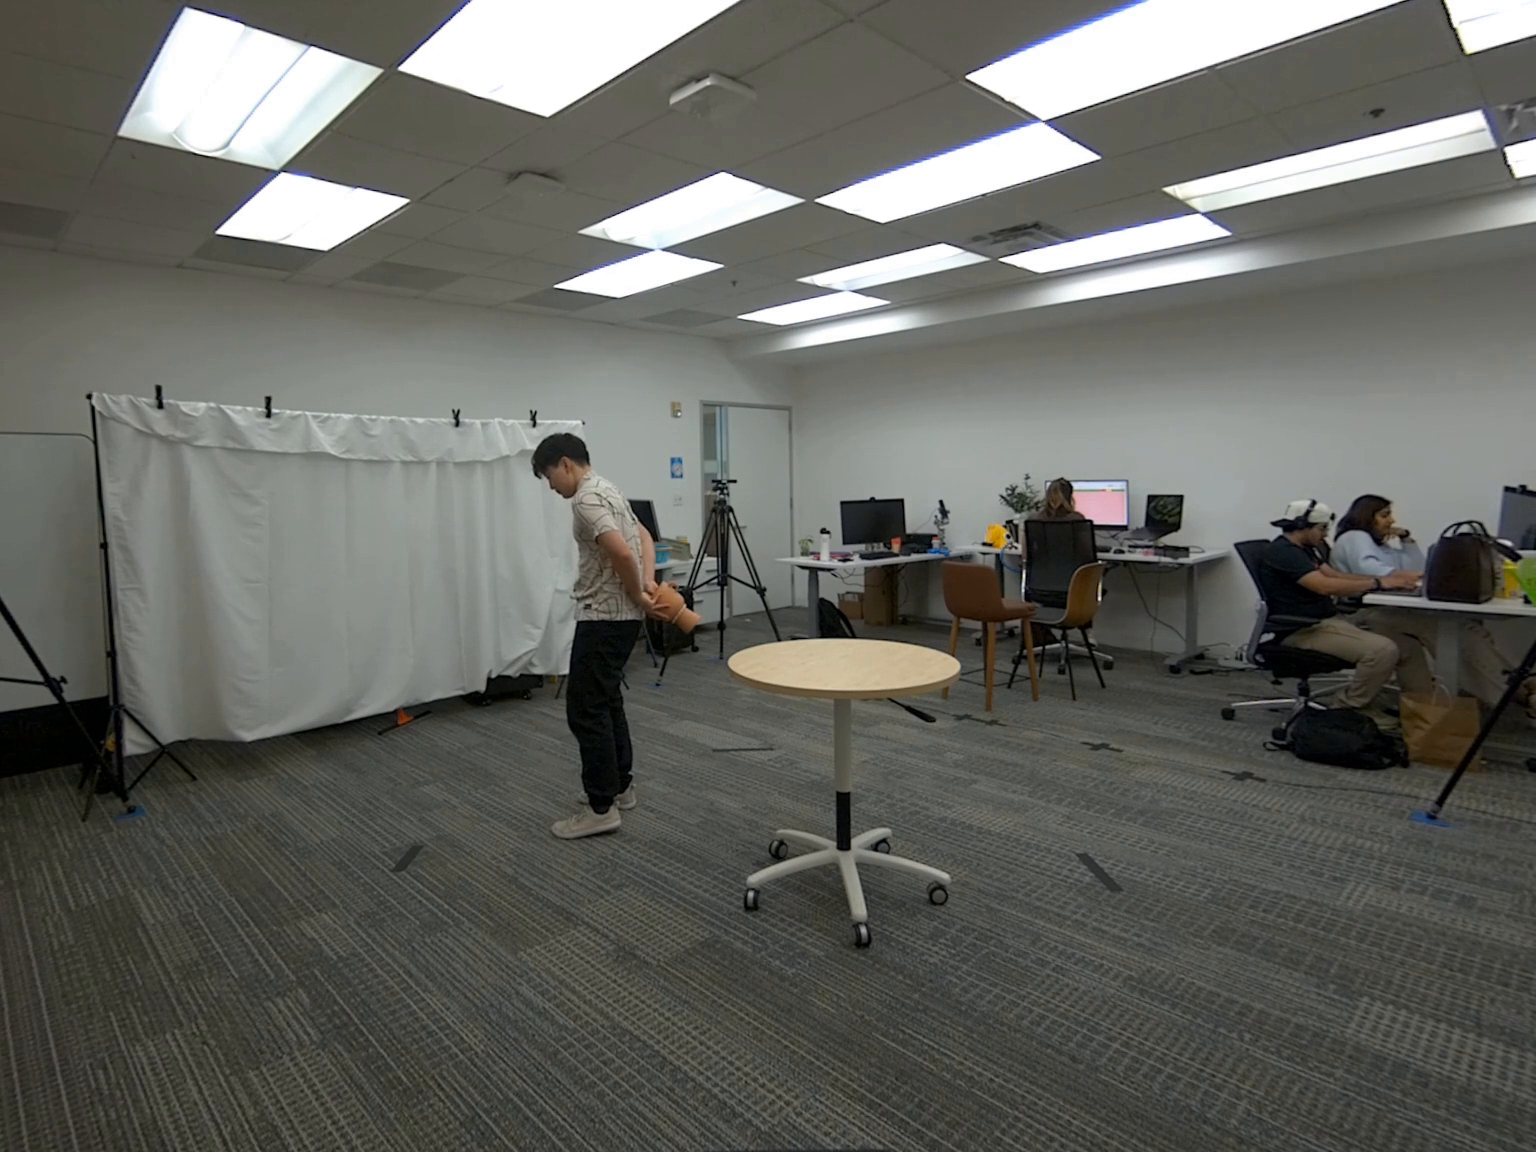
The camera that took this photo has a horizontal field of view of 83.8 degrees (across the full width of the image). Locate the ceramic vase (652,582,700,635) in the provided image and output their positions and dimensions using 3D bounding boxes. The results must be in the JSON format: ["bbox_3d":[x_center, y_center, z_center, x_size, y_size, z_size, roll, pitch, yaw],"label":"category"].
[{"bbox_3d":[-0.397,0.139,3.612,0.135,0.219,0.159,-55,6,-35],"label":"ceramic vase"}]
